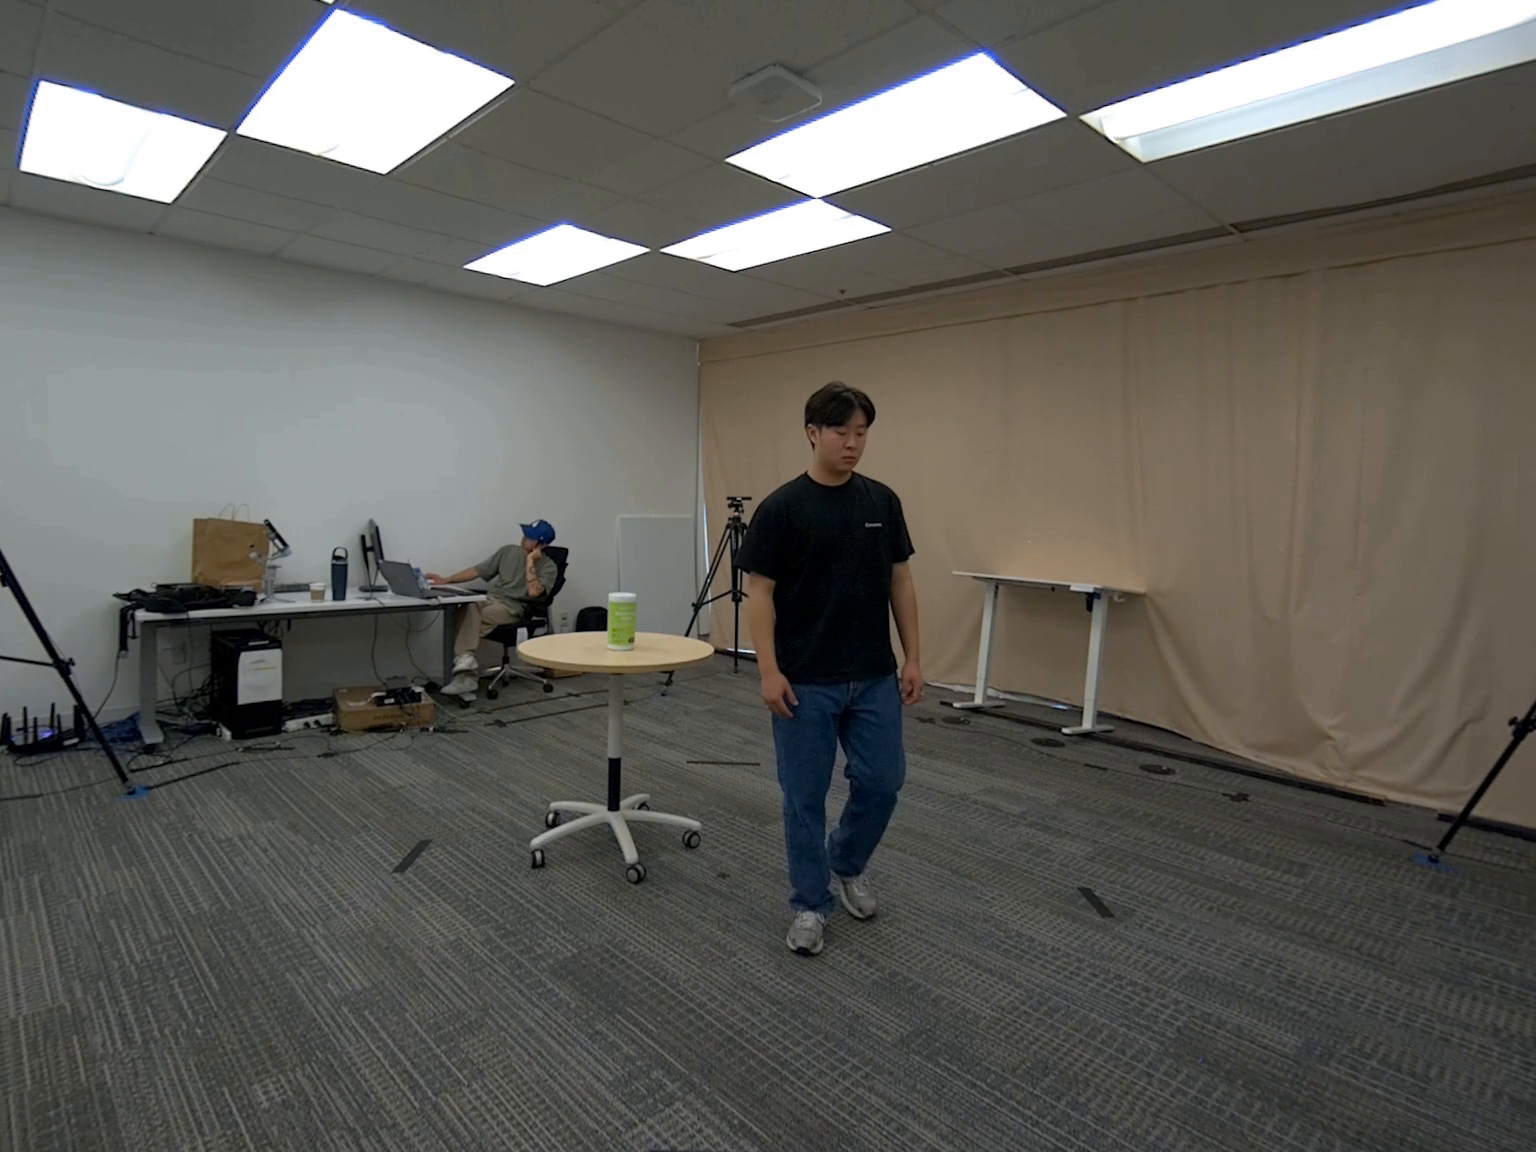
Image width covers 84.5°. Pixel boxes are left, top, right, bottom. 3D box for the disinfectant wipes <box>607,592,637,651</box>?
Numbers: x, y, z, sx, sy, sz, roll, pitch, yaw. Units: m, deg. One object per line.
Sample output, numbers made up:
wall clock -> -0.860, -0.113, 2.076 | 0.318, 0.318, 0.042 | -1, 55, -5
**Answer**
disinfectant wipes -> -0.579, 0.181, 3.282 | 0.118, 0.217, 0.118 | 2, 3, -2
